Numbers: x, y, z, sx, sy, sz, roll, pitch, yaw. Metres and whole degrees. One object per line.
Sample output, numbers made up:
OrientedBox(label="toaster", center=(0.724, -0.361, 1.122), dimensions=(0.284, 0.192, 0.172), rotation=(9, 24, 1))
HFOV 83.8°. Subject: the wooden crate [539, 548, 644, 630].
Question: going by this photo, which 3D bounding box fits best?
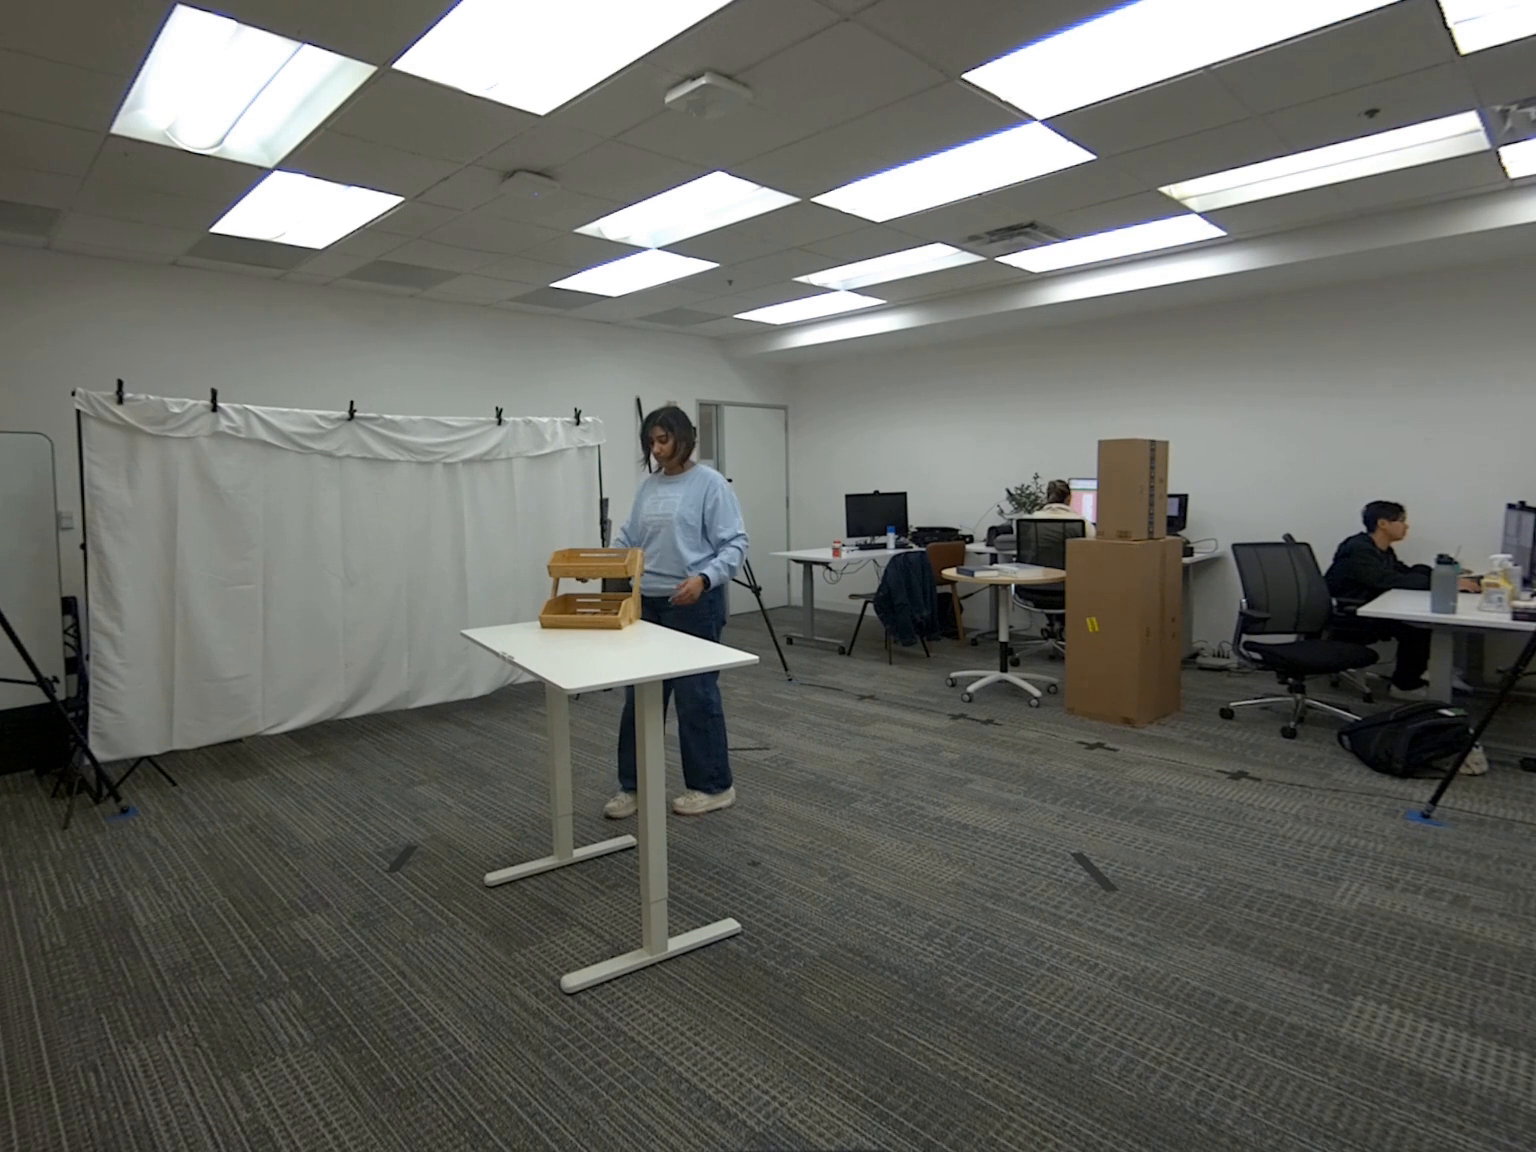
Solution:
OrientedBox(label="wooden crate", center=(-0.643, 0.035, 3.116), dimensions=(0.327, 0.272, 0.300), rotation=(-1, 4, 9))
